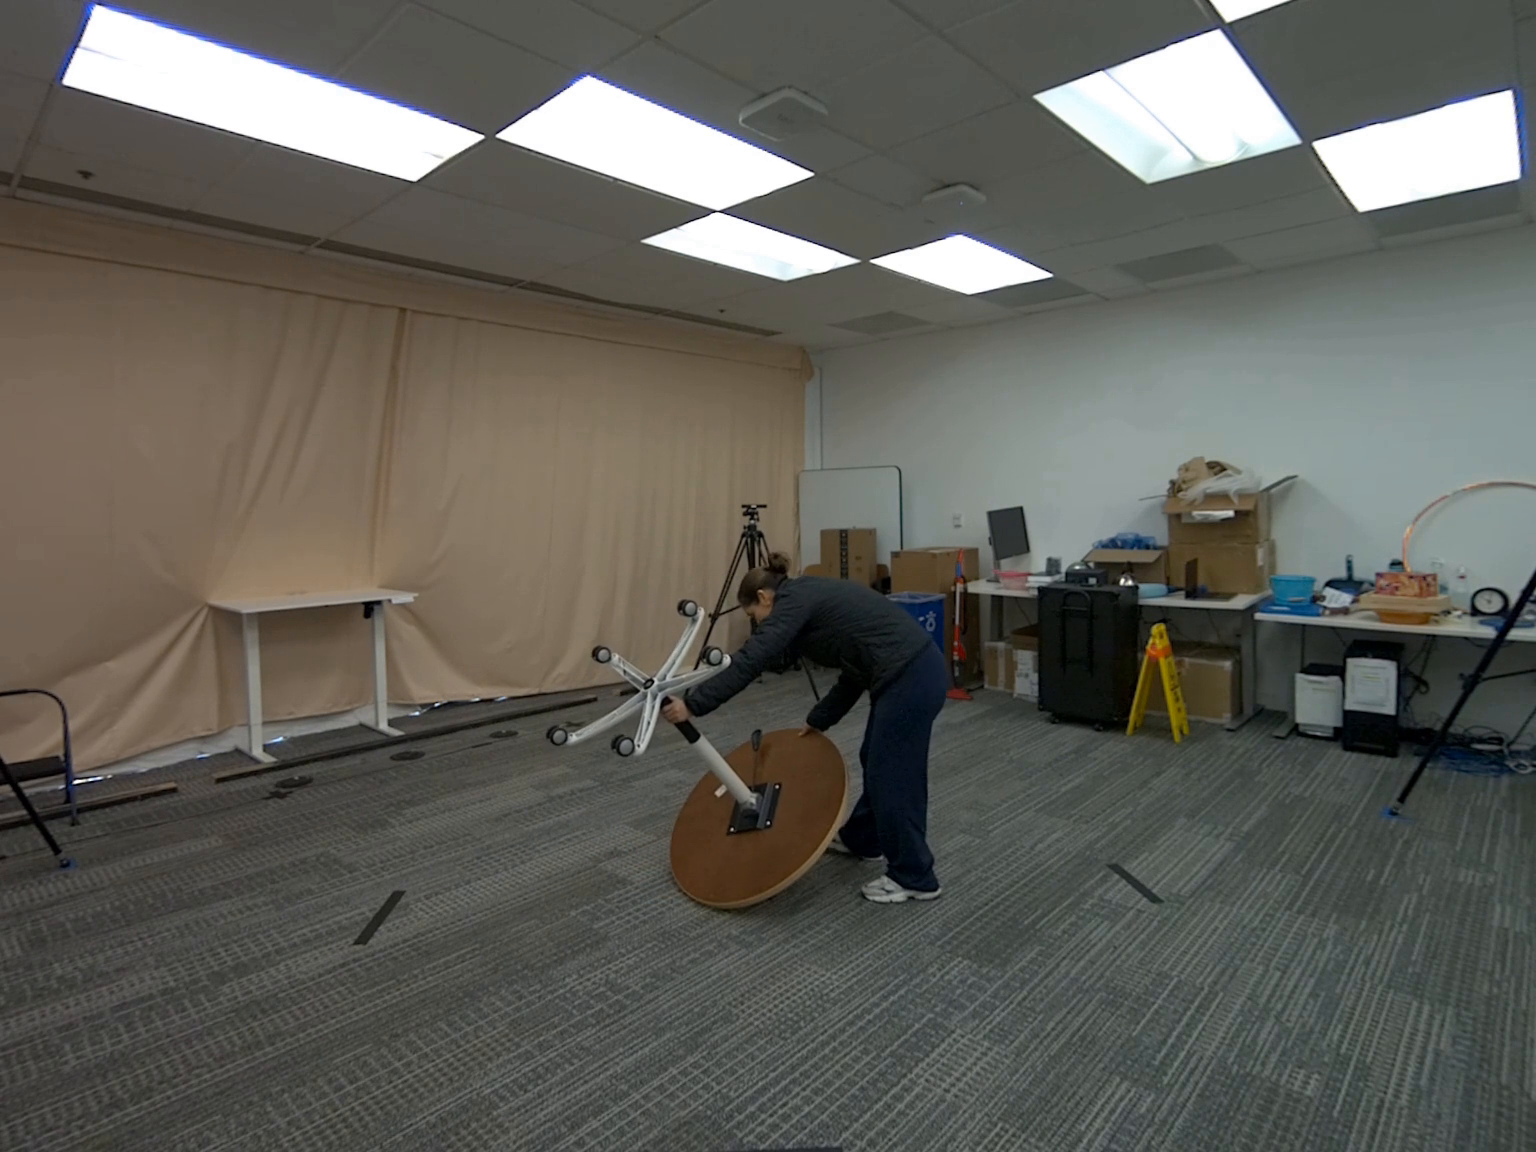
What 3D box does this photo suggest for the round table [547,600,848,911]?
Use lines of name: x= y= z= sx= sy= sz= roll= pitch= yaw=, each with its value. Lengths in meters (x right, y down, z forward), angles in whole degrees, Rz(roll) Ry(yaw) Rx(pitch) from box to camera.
round table: x=-0.223 y=0.591 z=2.980 sx=0.792 sy=0.766 sz=0.798 roll=-28 pitch=27 yaw=13
